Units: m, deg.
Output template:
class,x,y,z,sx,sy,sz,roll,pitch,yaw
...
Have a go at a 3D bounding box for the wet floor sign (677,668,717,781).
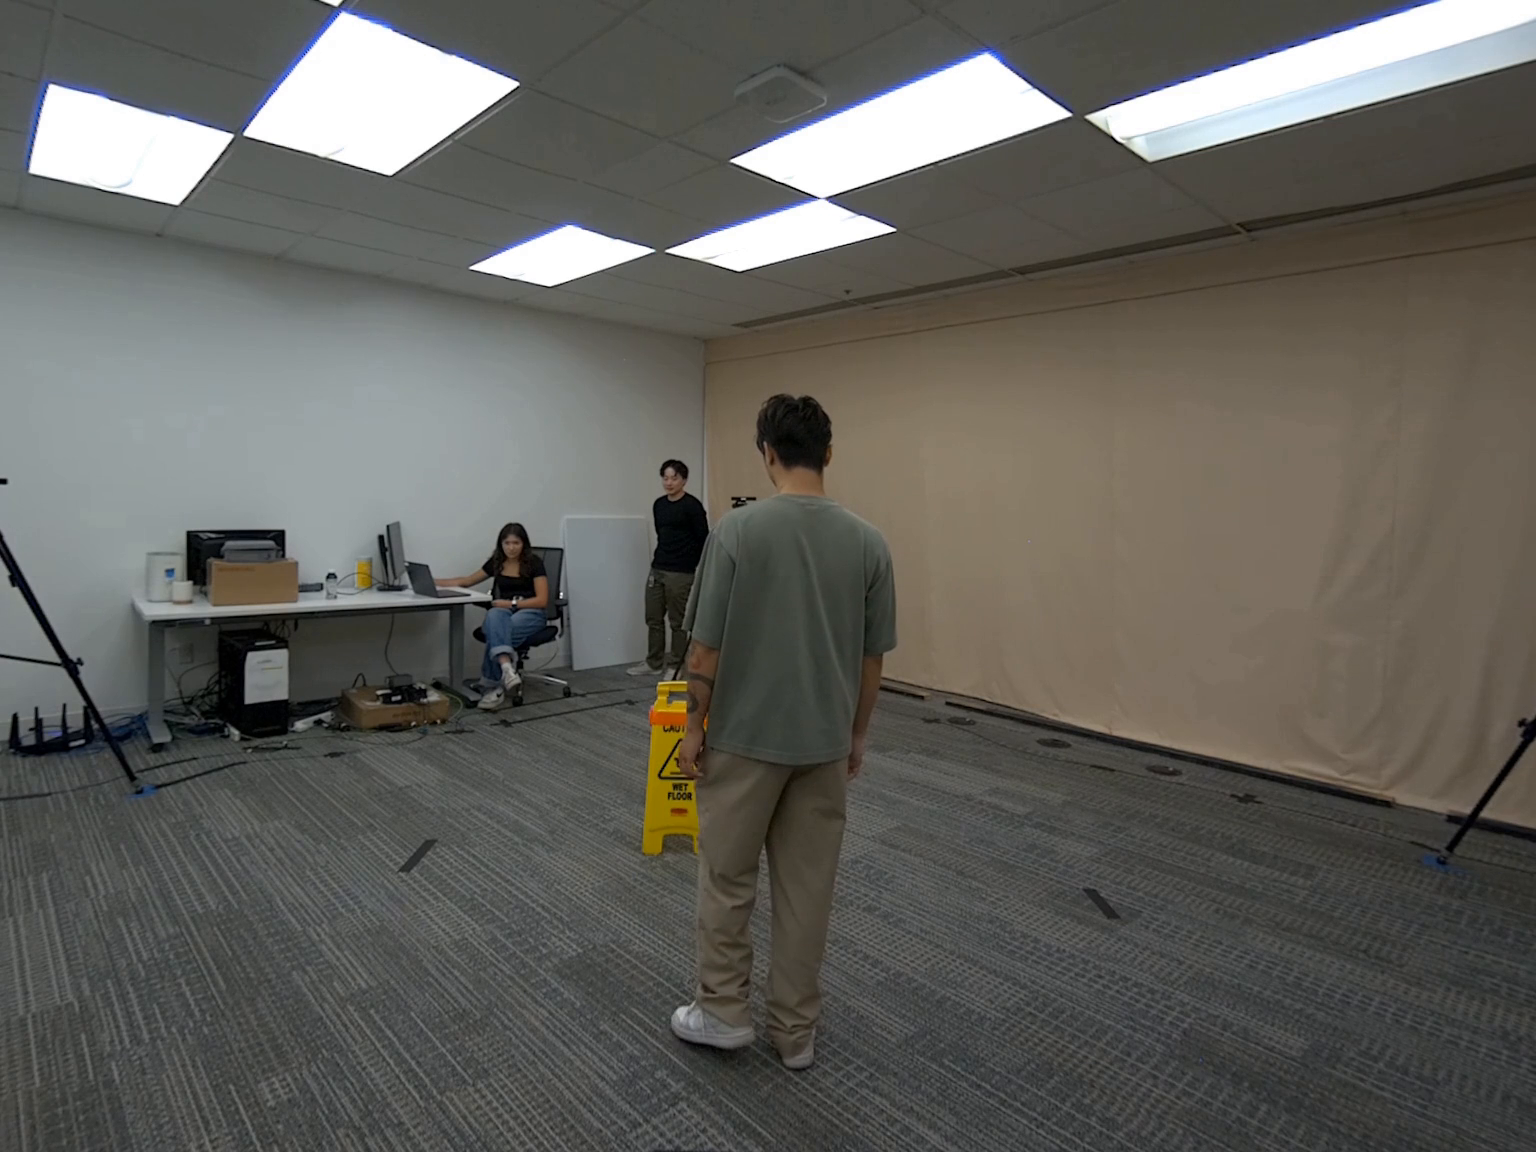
class,x,y,z,sx,sy,sz,roll,pitch,yaw
wet floor sign,-0.355,0.757,3.390,0.282,0.645,0.290,2,3,-2
